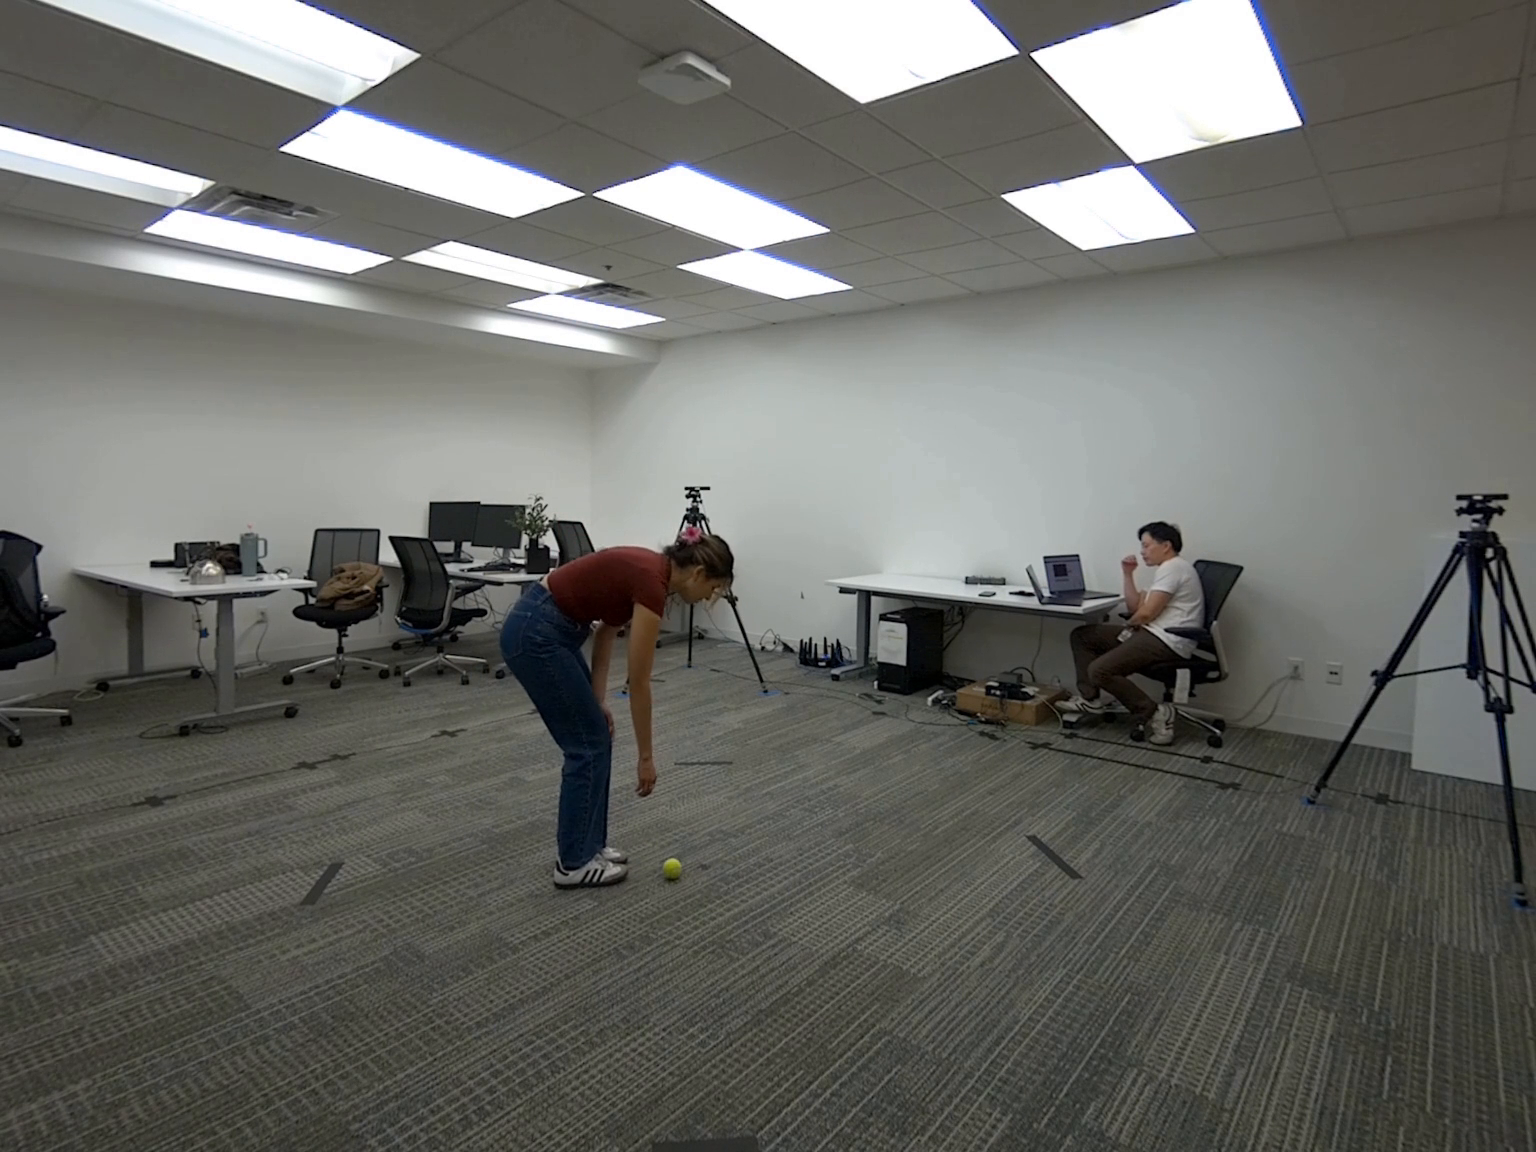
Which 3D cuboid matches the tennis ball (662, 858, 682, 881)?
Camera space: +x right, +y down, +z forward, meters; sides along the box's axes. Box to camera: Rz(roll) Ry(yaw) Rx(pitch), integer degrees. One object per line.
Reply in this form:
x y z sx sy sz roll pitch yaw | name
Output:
-0.344 1.027 3.016 0.066 0.066 0.067 1 4 -2 | tennis ball
